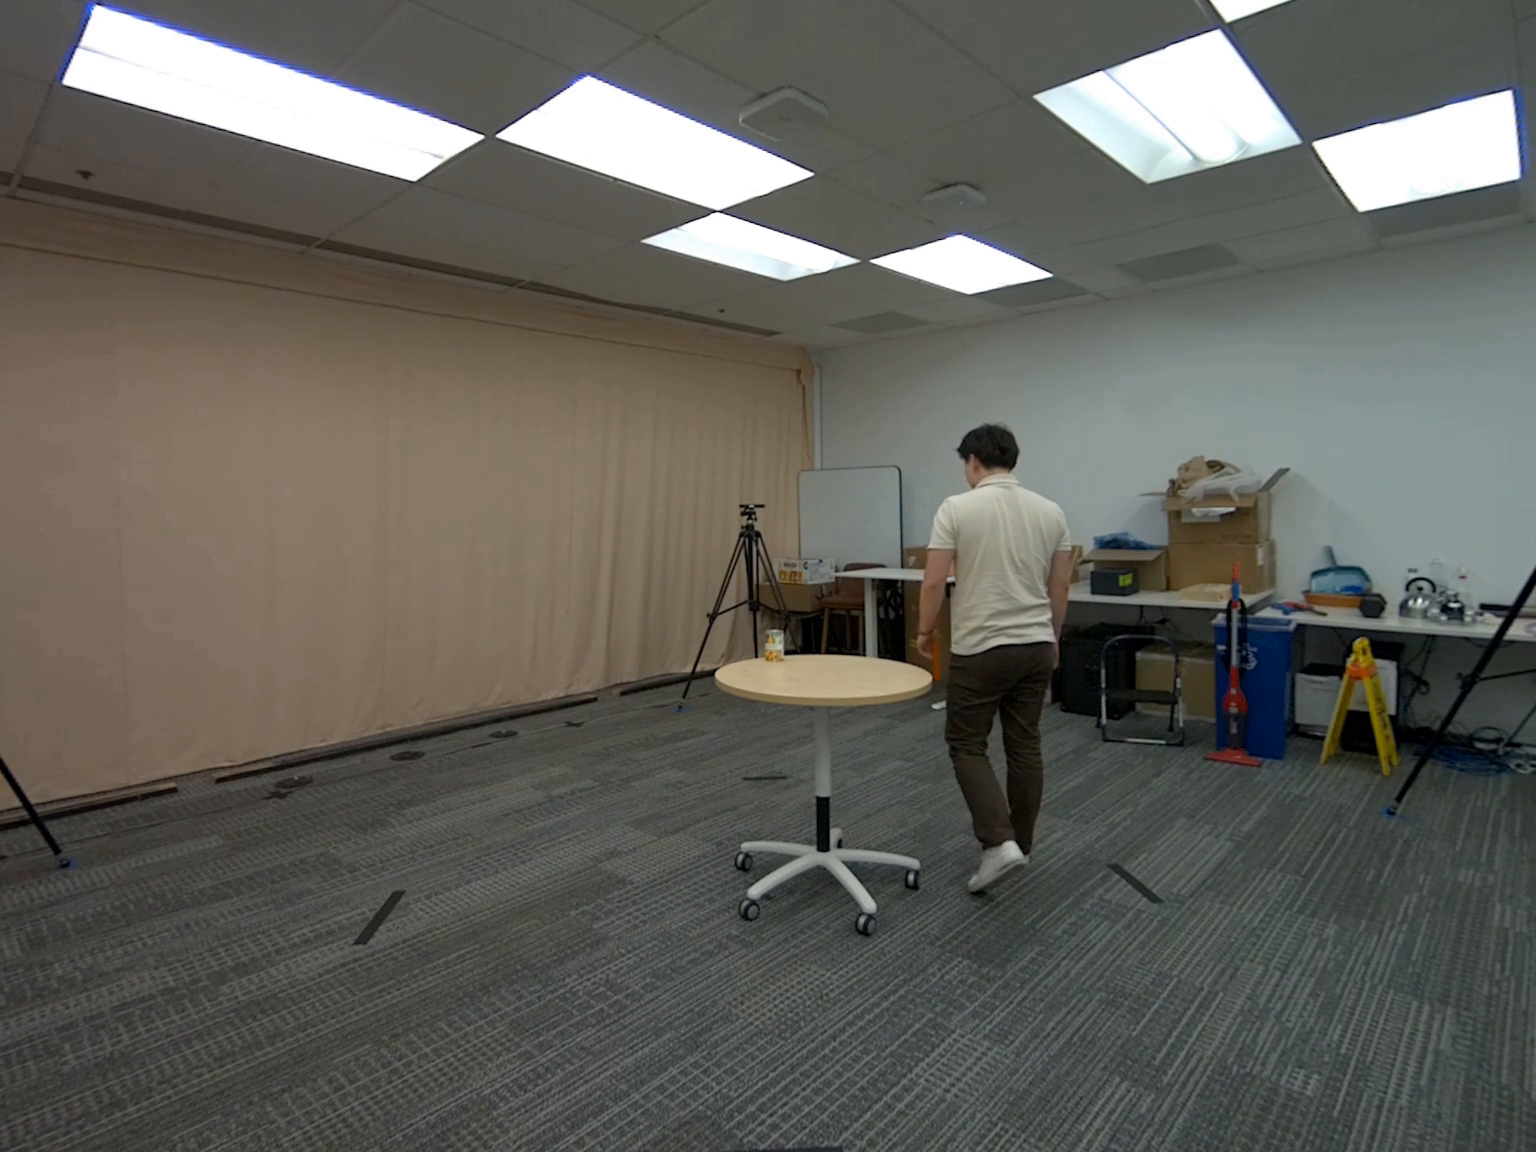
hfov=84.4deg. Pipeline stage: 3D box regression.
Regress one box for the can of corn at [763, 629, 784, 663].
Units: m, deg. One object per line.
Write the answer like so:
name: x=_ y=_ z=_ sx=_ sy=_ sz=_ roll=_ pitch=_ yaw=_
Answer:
can of corn: x=0.030 y=0.273 z=3.288 sx=0.074 sy=0.111 sz=0.074 roll=-1 pitch=3 yaw=-2
